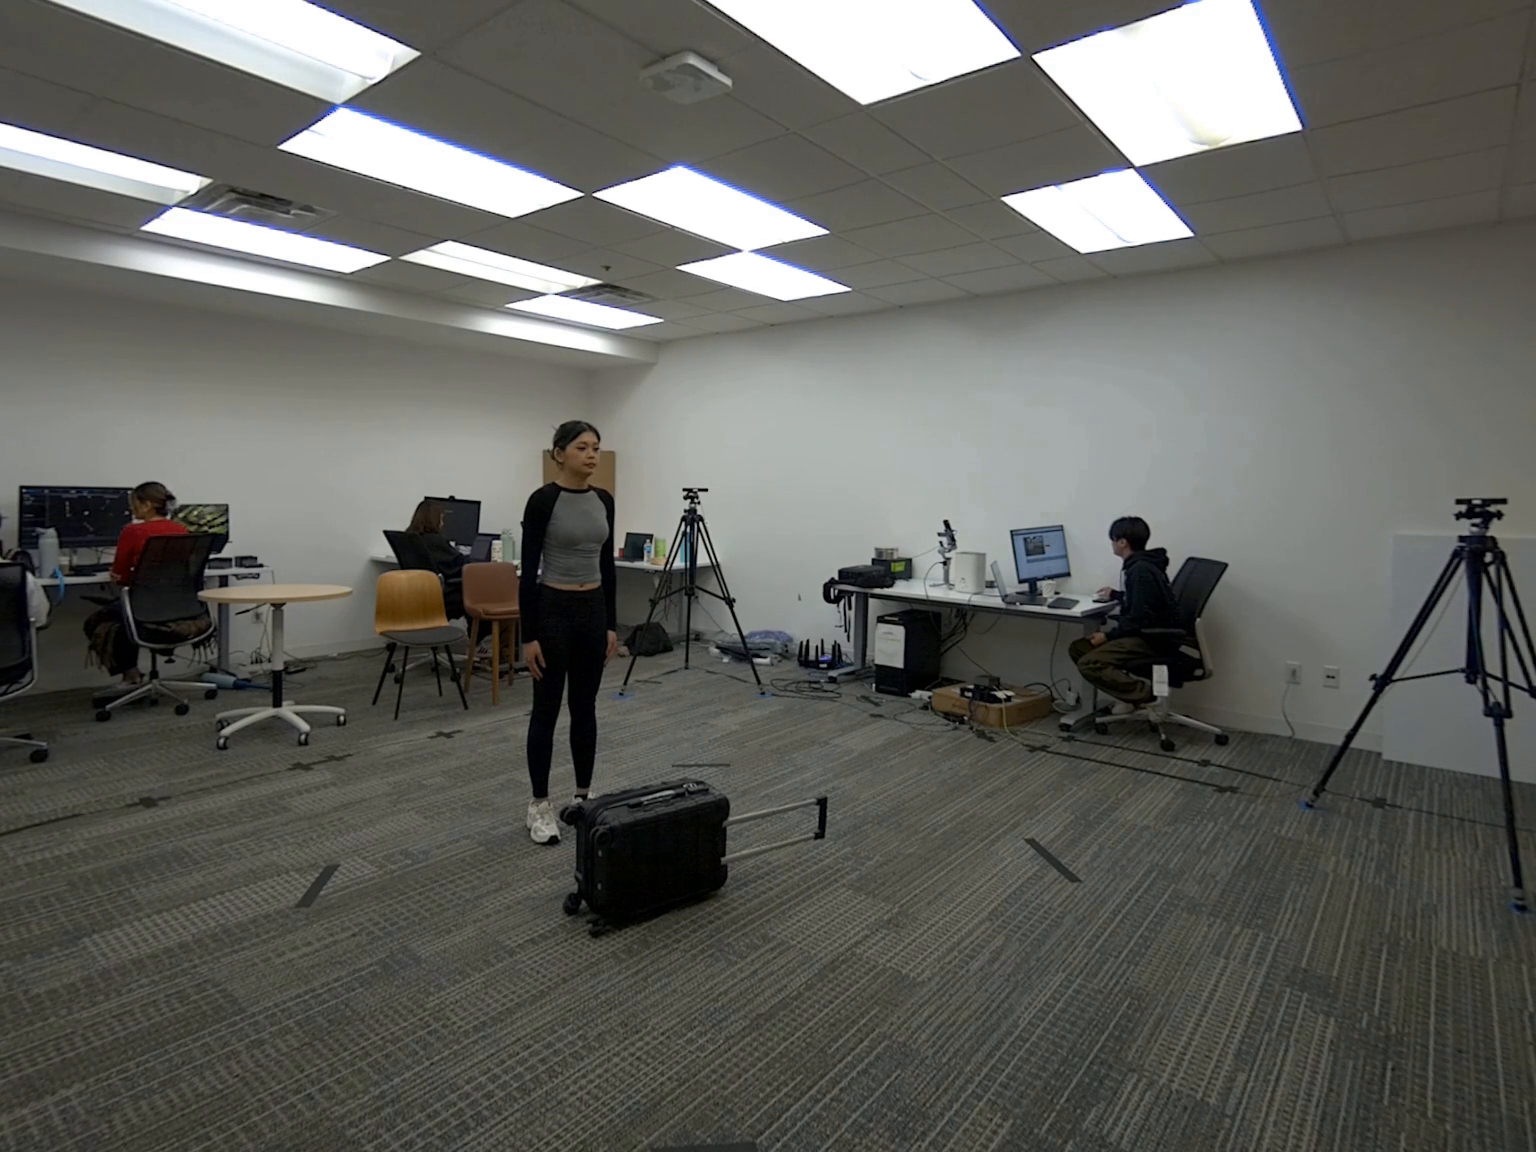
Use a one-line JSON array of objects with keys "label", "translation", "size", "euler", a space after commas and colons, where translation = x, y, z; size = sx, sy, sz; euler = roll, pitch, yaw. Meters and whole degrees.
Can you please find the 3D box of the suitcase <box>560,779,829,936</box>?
[{"label": "suitcase", "translation": [-0.244, 0.892, 2.976], "size": [0.950, 0.383, 0.266], "euler": [-4, 6, -39]}]
